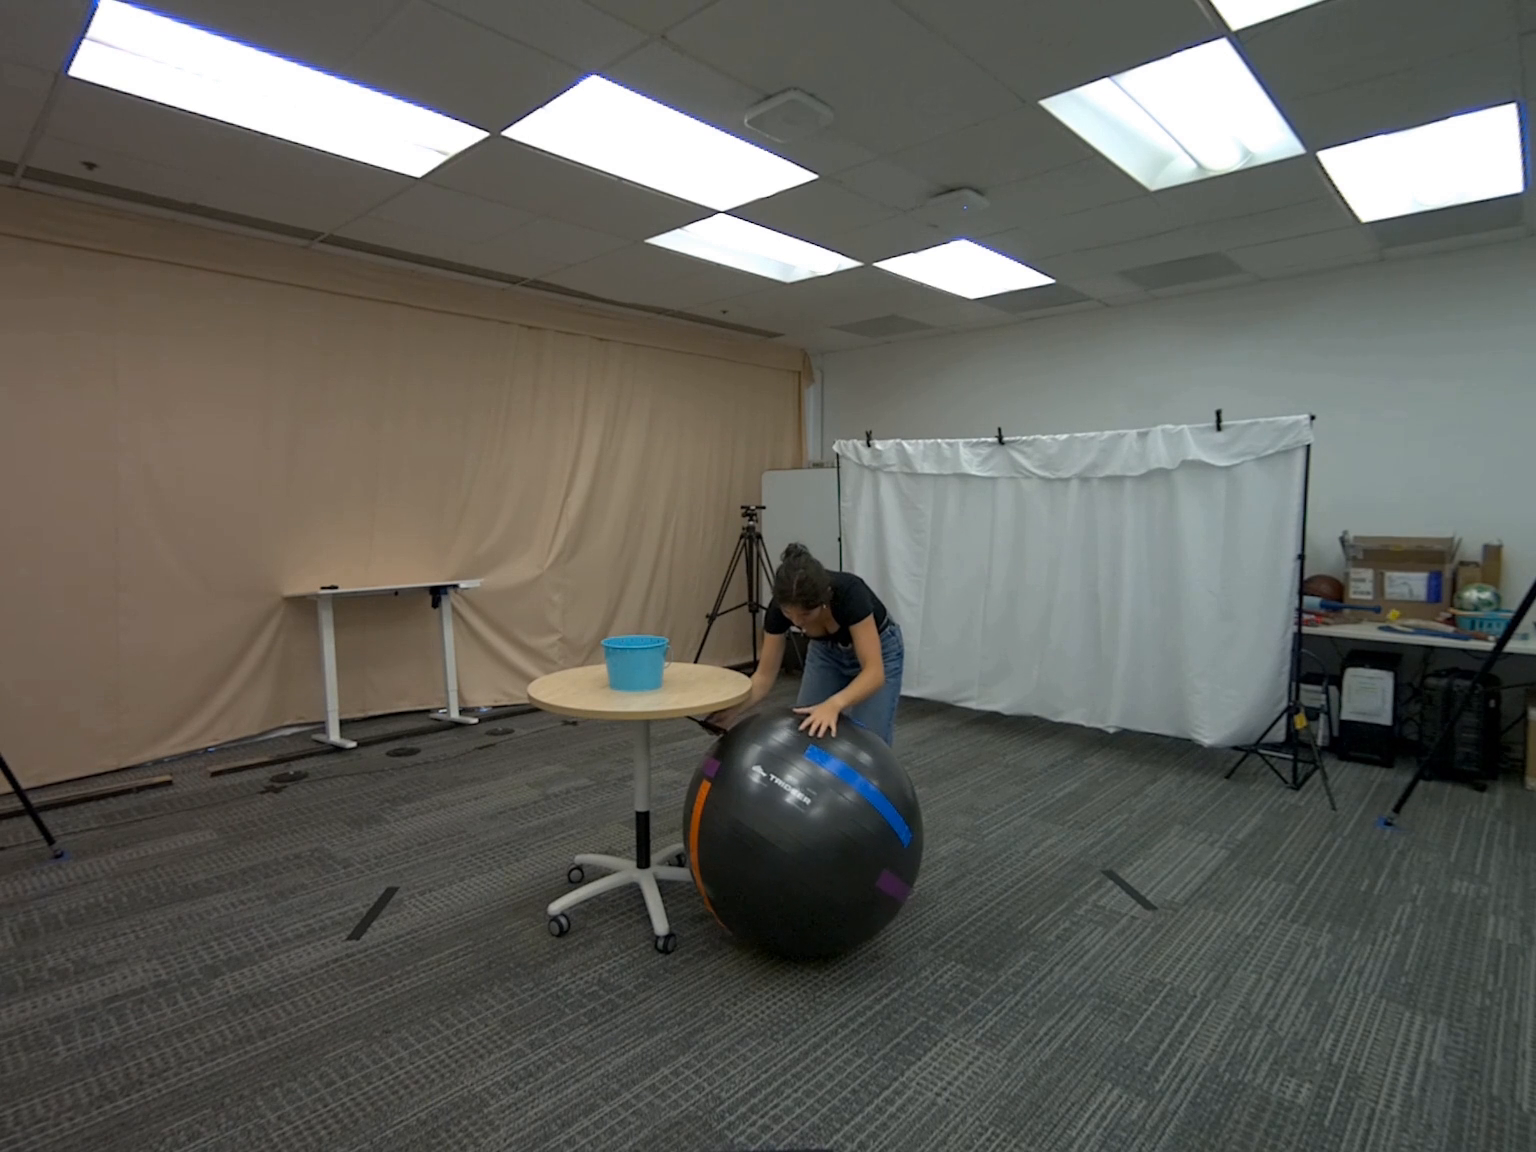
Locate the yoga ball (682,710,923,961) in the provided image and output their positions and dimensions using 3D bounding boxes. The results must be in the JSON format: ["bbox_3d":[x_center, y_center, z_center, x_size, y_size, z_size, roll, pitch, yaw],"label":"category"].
[{"bbox_3d":[0.118,0.809,2.683,0.757,0.756,0.760,0,4,-2],"label":"yoga ball"}]
